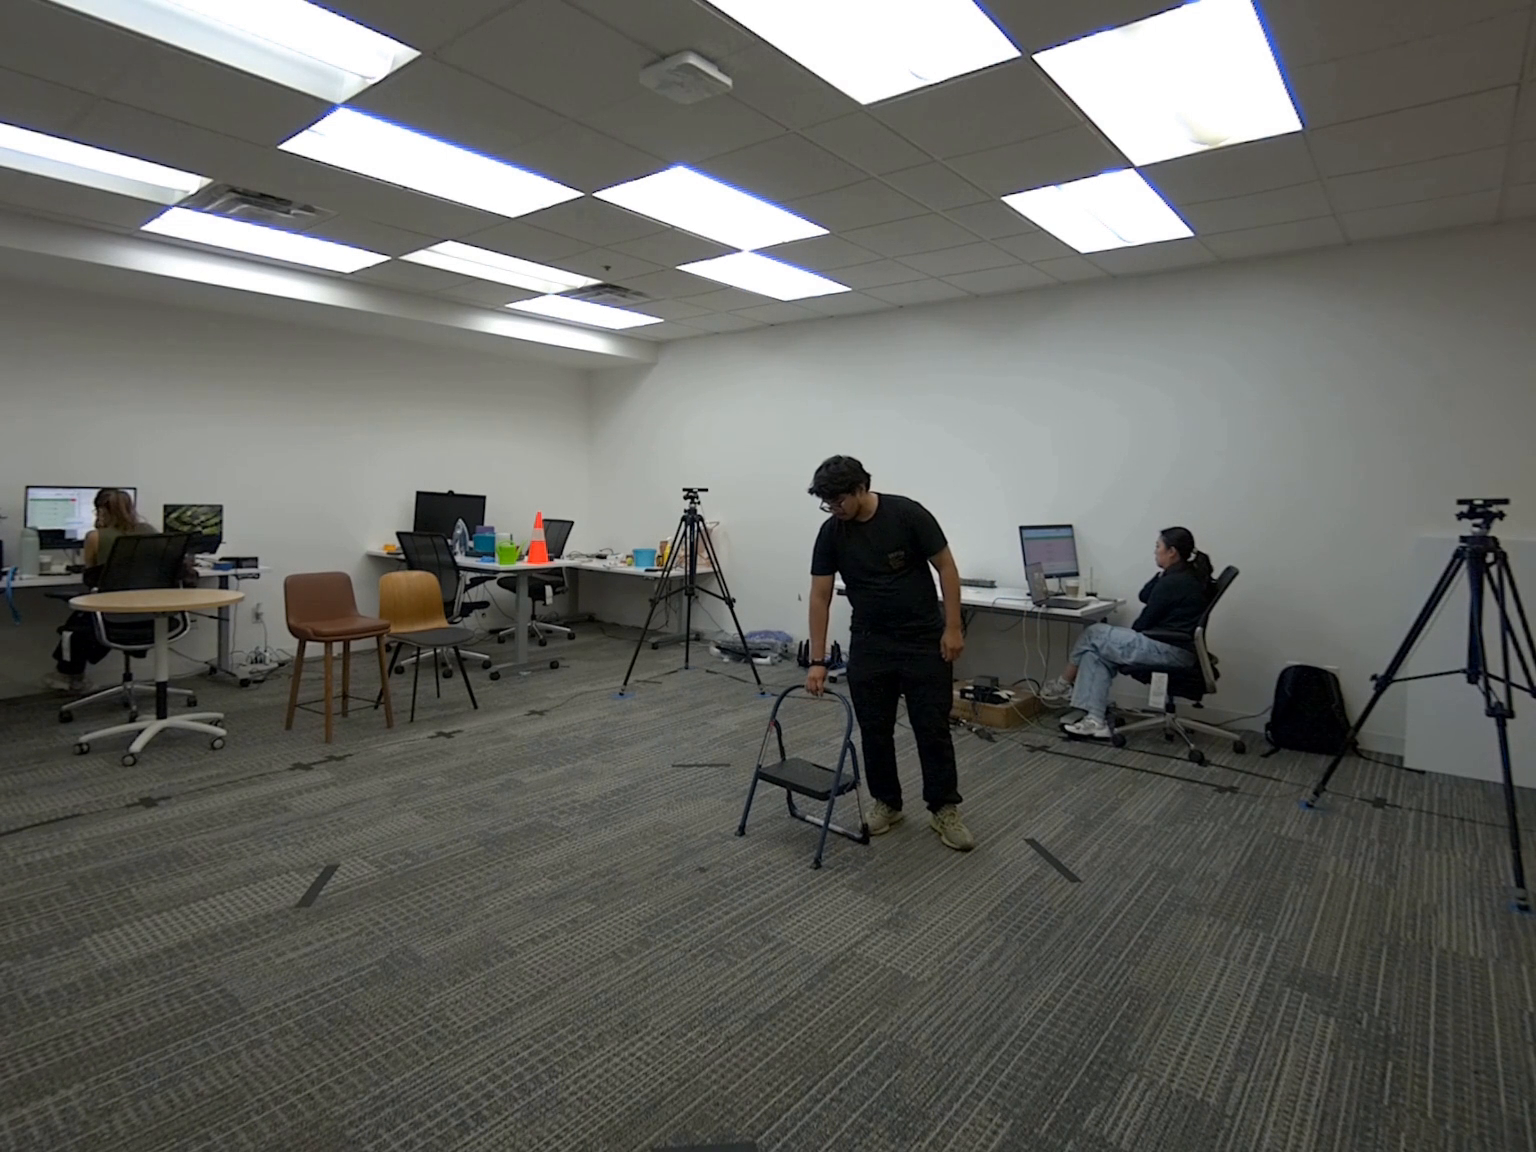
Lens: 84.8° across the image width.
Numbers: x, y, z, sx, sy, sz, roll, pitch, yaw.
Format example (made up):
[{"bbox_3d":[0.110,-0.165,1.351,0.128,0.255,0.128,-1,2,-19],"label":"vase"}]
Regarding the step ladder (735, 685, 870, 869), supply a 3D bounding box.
[{"bbox_3d":[0.139,0.749,3.382,0.445,0.604,0.338,5,5,43],"label":"step ladder"}]
